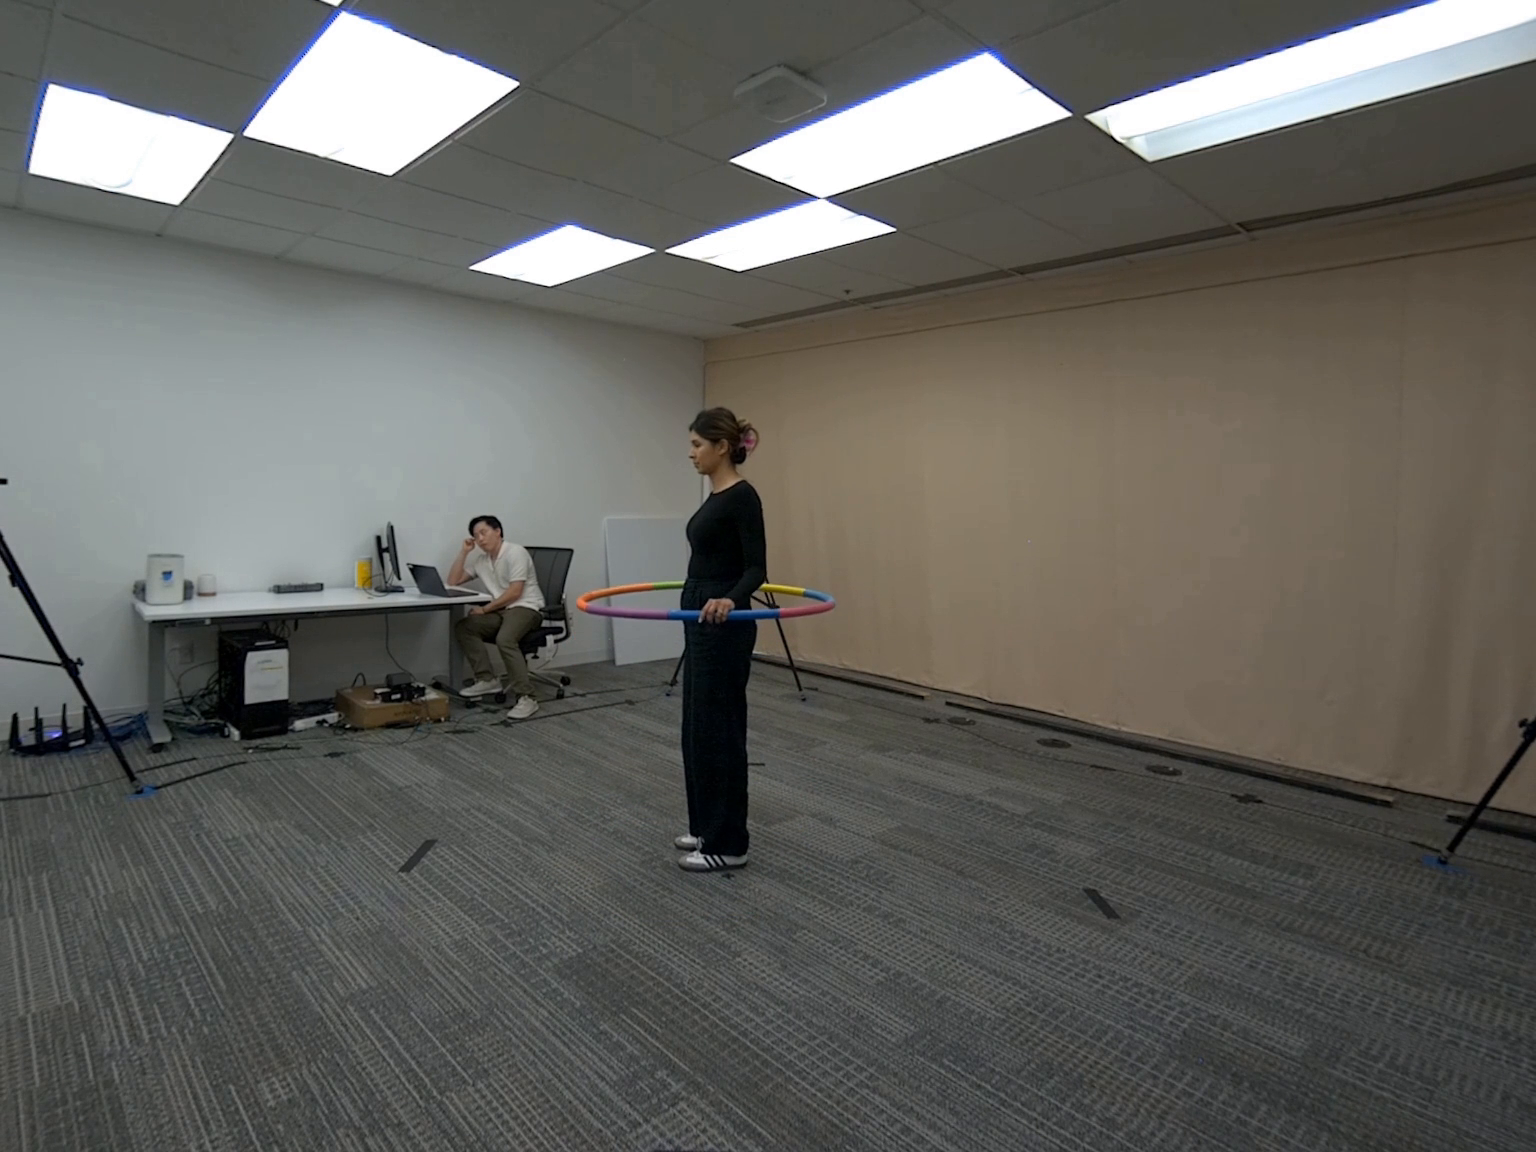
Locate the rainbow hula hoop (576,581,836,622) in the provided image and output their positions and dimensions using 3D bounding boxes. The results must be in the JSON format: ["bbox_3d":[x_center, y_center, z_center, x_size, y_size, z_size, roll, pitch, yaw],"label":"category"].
[{"bbox_3d":[-0.243,0.082,3.253,0.978,0.035,0.982,0,5,-1],"label":"rainbow hula hoop"}]
